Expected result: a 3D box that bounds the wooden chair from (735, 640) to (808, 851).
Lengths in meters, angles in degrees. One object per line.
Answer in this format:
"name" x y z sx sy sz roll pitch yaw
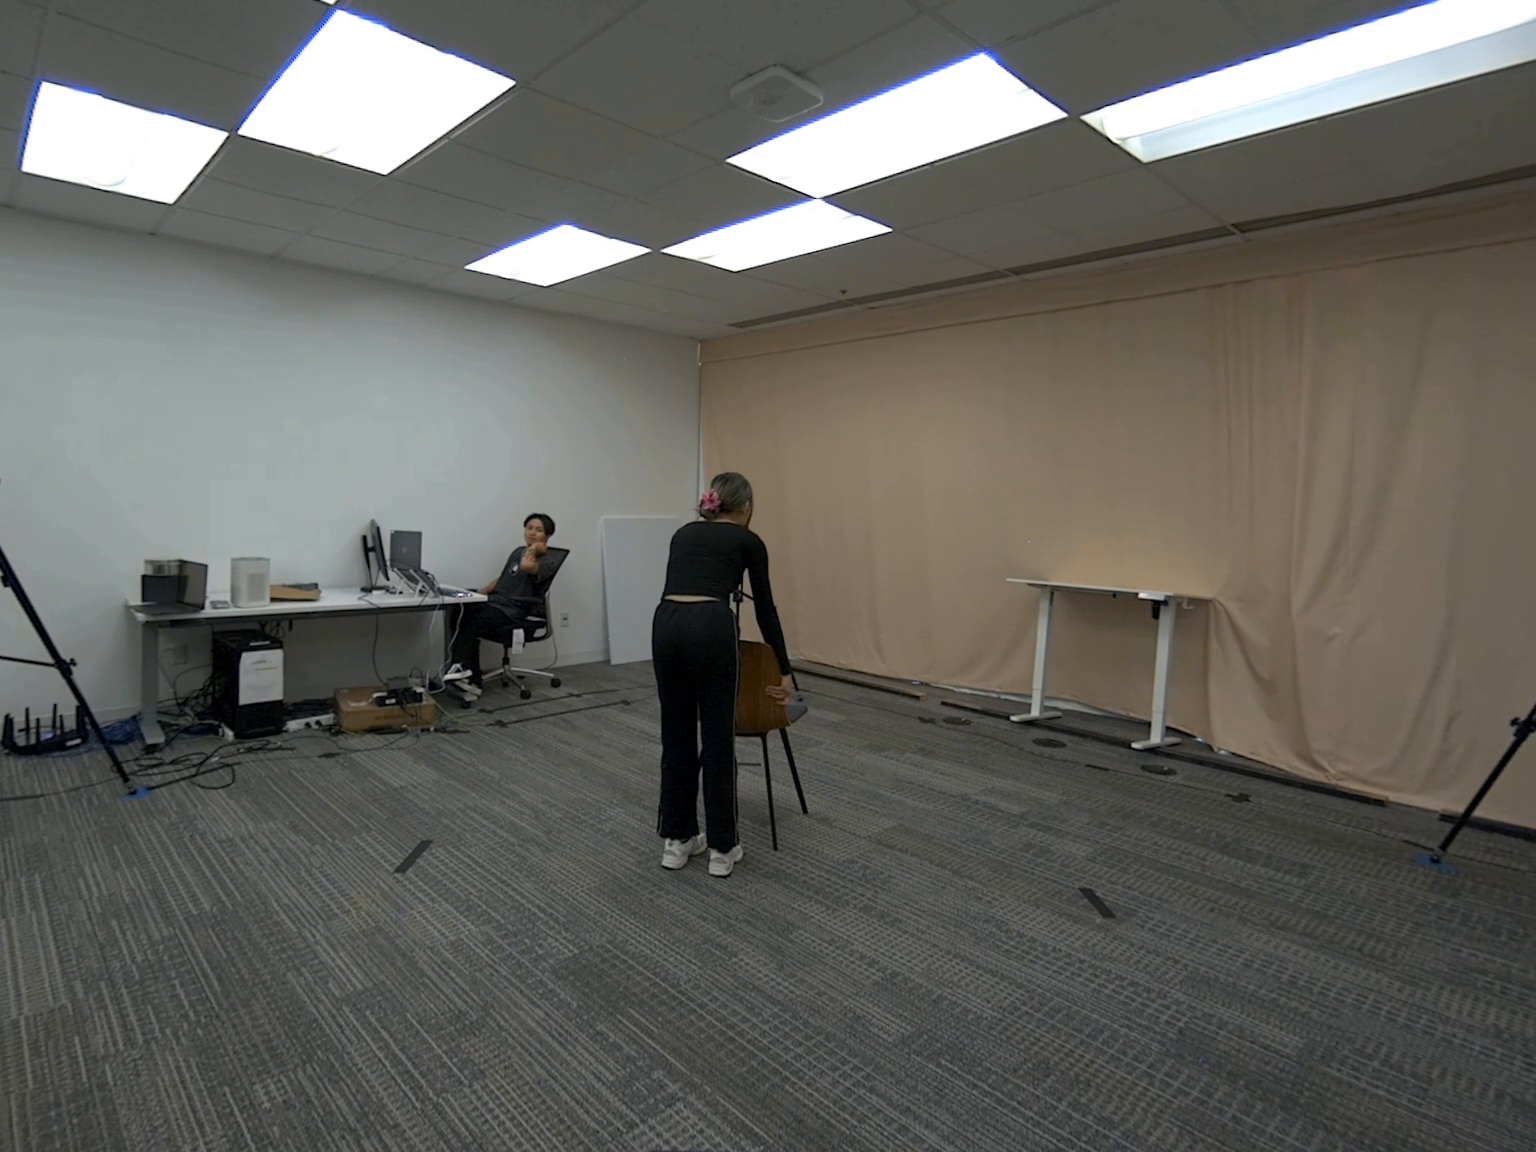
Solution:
"wooden chair" -0.102 0.639 3.605 0.486 0.873 0.517 2 8 20
